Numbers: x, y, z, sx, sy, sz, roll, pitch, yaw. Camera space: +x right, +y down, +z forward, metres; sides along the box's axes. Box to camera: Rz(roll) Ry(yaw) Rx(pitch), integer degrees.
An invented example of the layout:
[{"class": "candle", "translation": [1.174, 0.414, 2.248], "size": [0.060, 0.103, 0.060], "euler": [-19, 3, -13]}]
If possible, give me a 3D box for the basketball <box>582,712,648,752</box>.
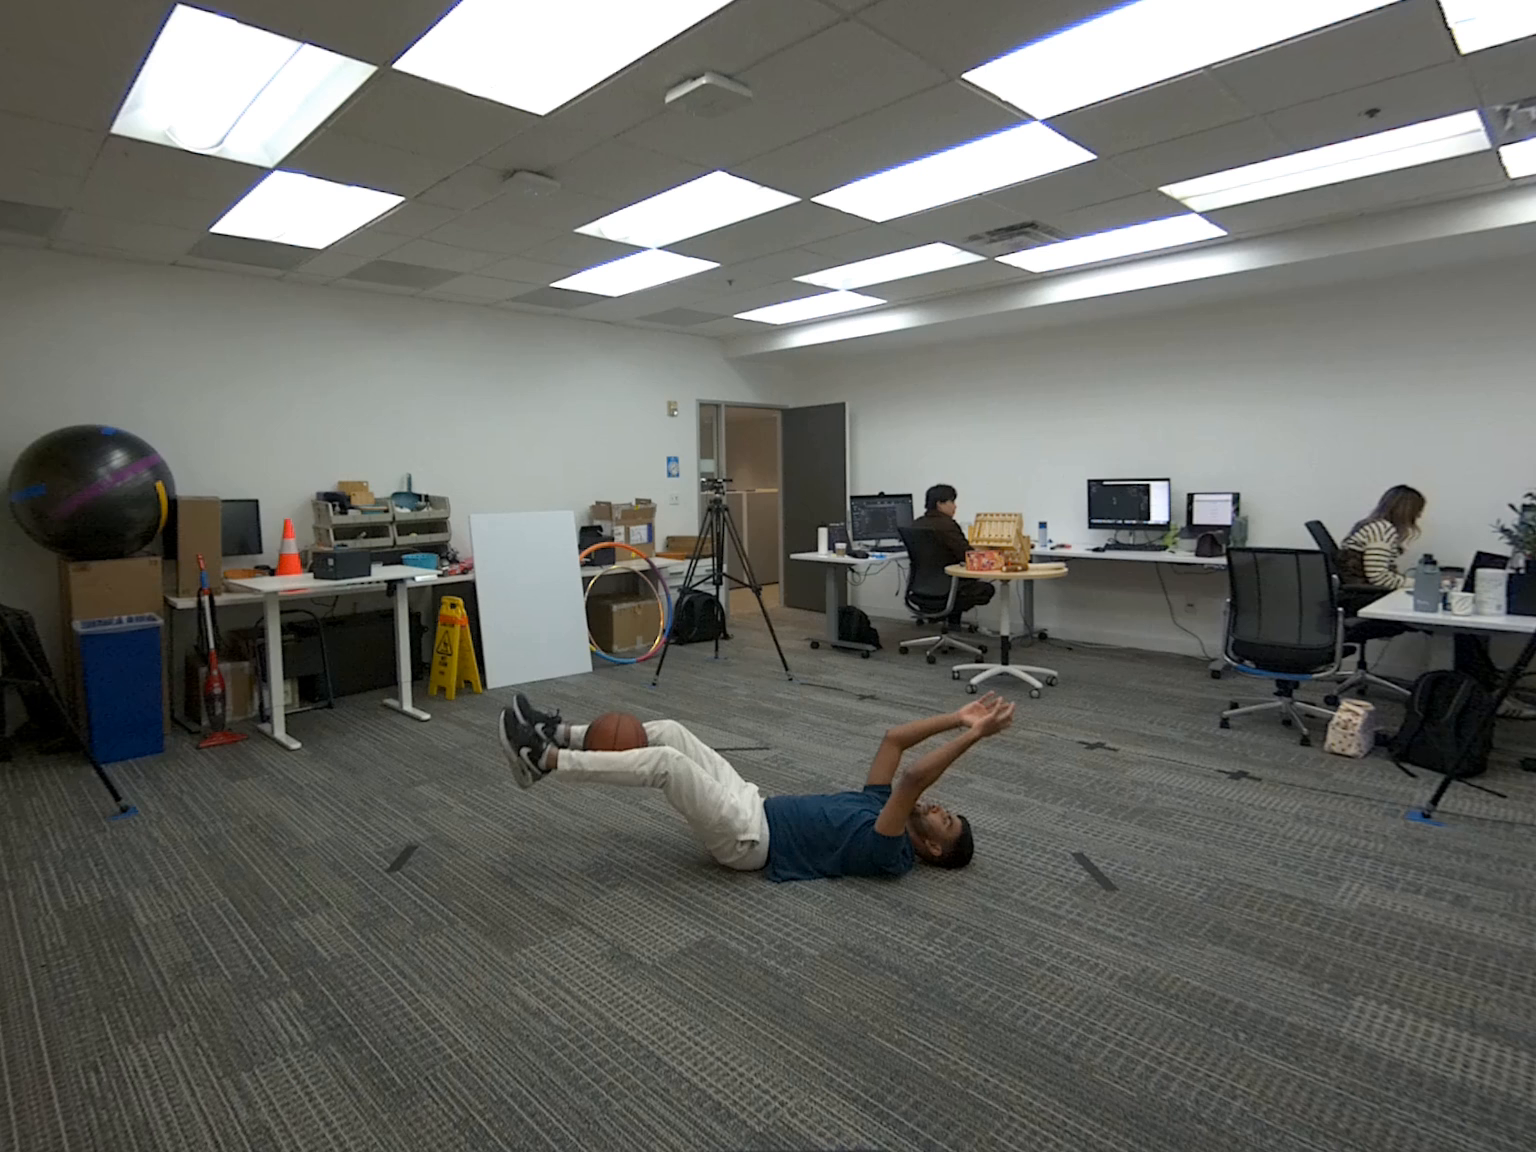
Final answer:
[{"class": "basketball", "translation": [-0.544, 0.614, 3.136], "size": [0.236, 0.235, 0.237], "euler": [-1, 5, -2]}]
